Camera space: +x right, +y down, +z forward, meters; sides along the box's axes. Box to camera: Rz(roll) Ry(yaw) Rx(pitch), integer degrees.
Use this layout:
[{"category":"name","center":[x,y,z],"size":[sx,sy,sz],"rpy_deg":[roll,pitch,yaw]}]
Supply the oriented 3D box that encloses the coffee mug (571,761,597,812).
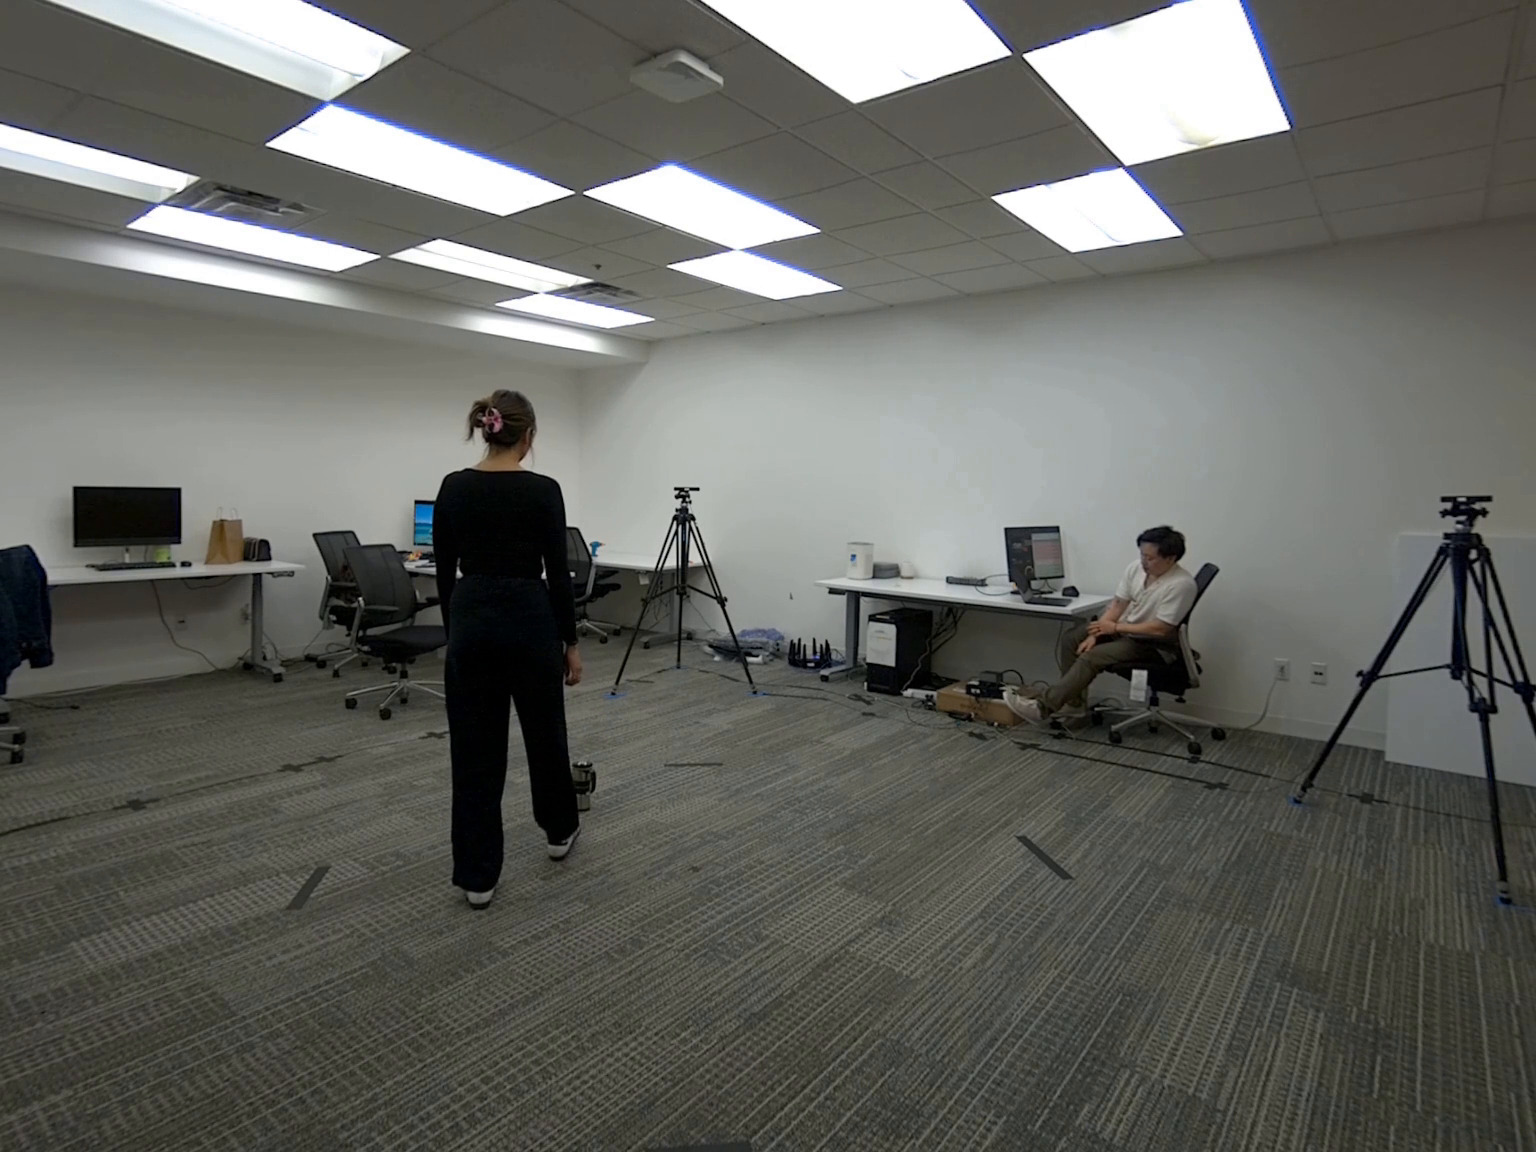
[{"category":"coffee mug","center":[-0.807,0.906,3.648],"size":[0.086,0.203,0.125],"rpy_deg":[1,-1,-26]}]
